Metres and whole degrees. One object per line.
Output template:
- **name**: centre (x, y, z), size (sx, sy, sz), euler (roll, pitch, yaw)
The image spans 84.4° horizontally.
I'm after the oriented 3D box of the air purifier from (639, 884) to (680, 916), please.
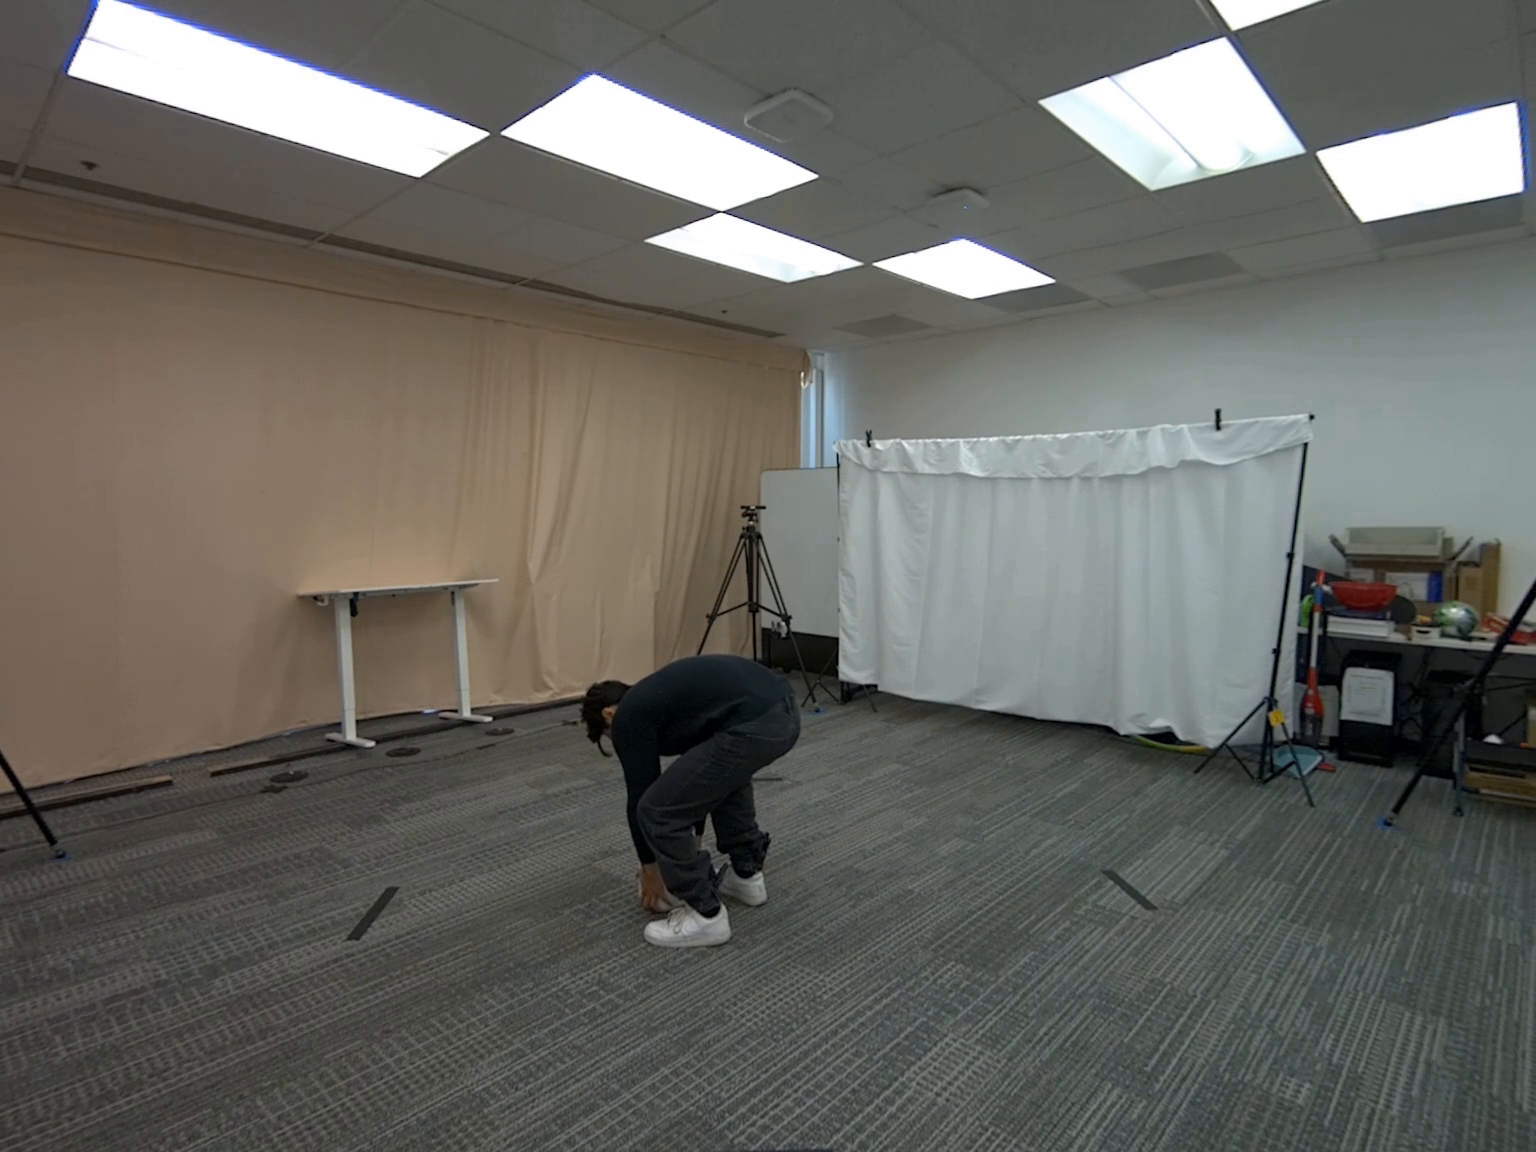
- **air purifier**: centre (-0.355, 1.013, 2.942), size (0.166, 0.265, 0.176), euler (-3, 4, -39)
